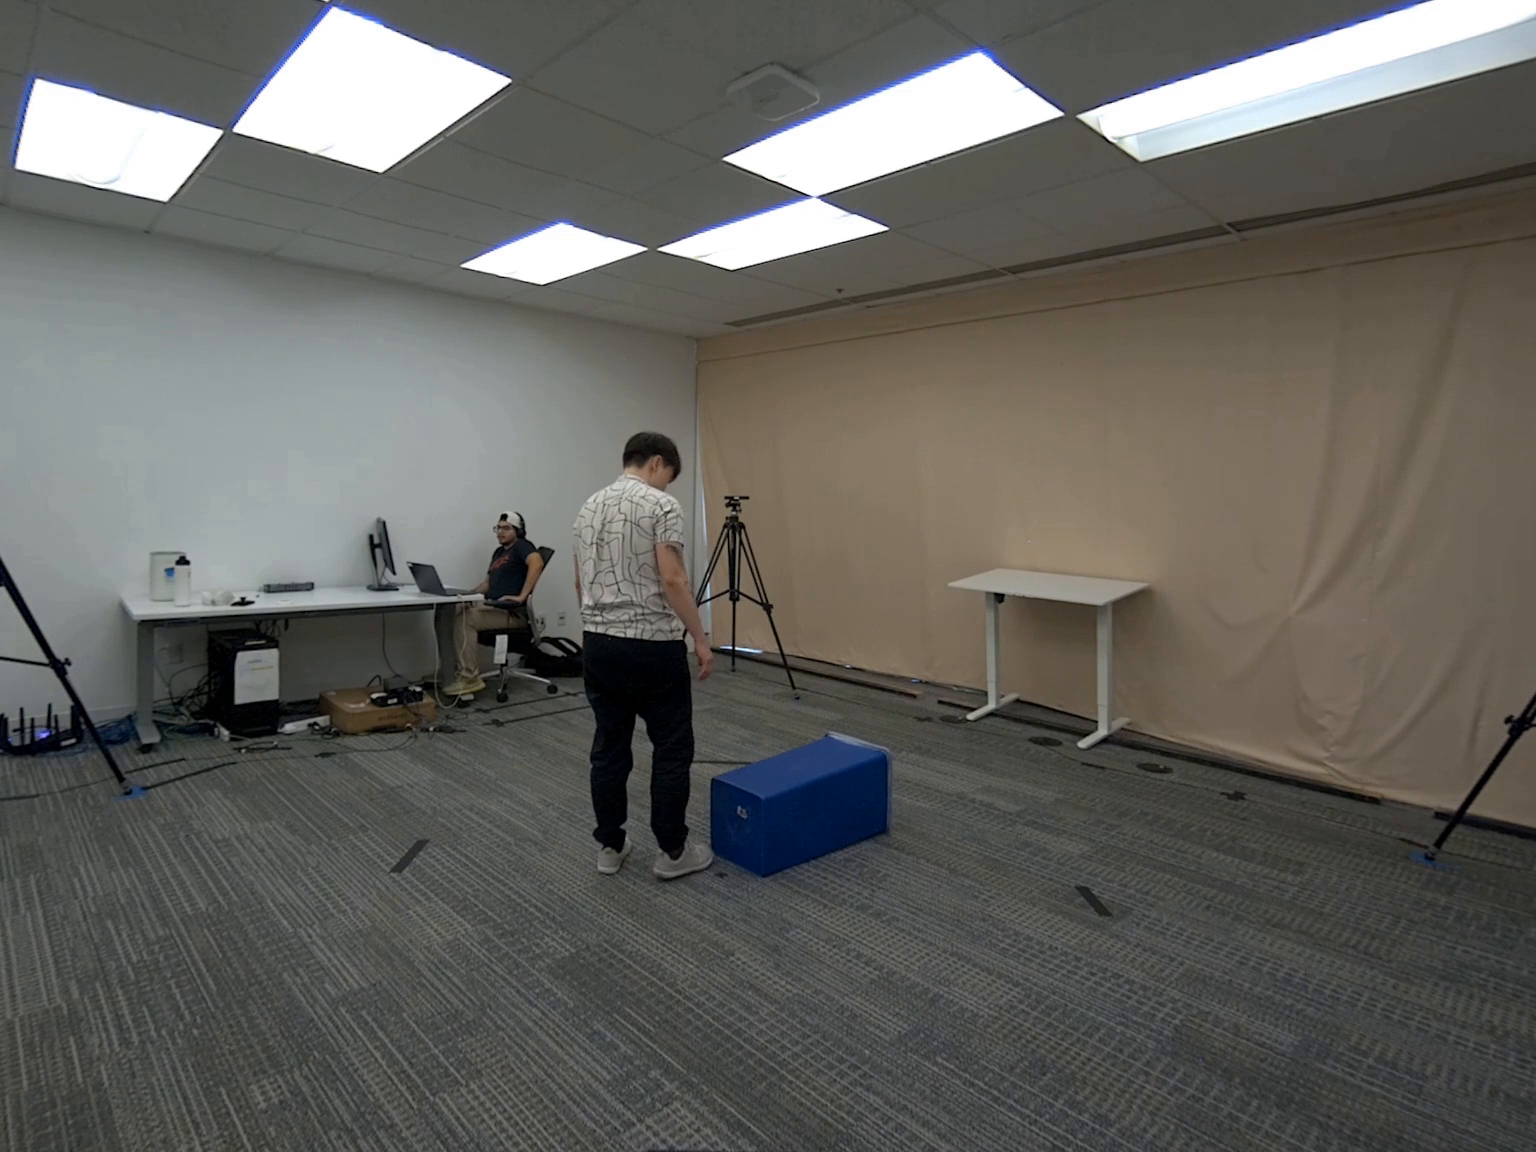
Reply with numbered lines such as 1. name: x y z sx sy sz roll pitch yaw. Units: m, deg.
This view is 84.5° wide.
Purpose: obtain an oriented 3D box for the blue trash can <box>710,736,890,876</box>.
1. blue trash can: 0.122 0.909 3.411 0.698 0.377 0.384 -5 7 -42
